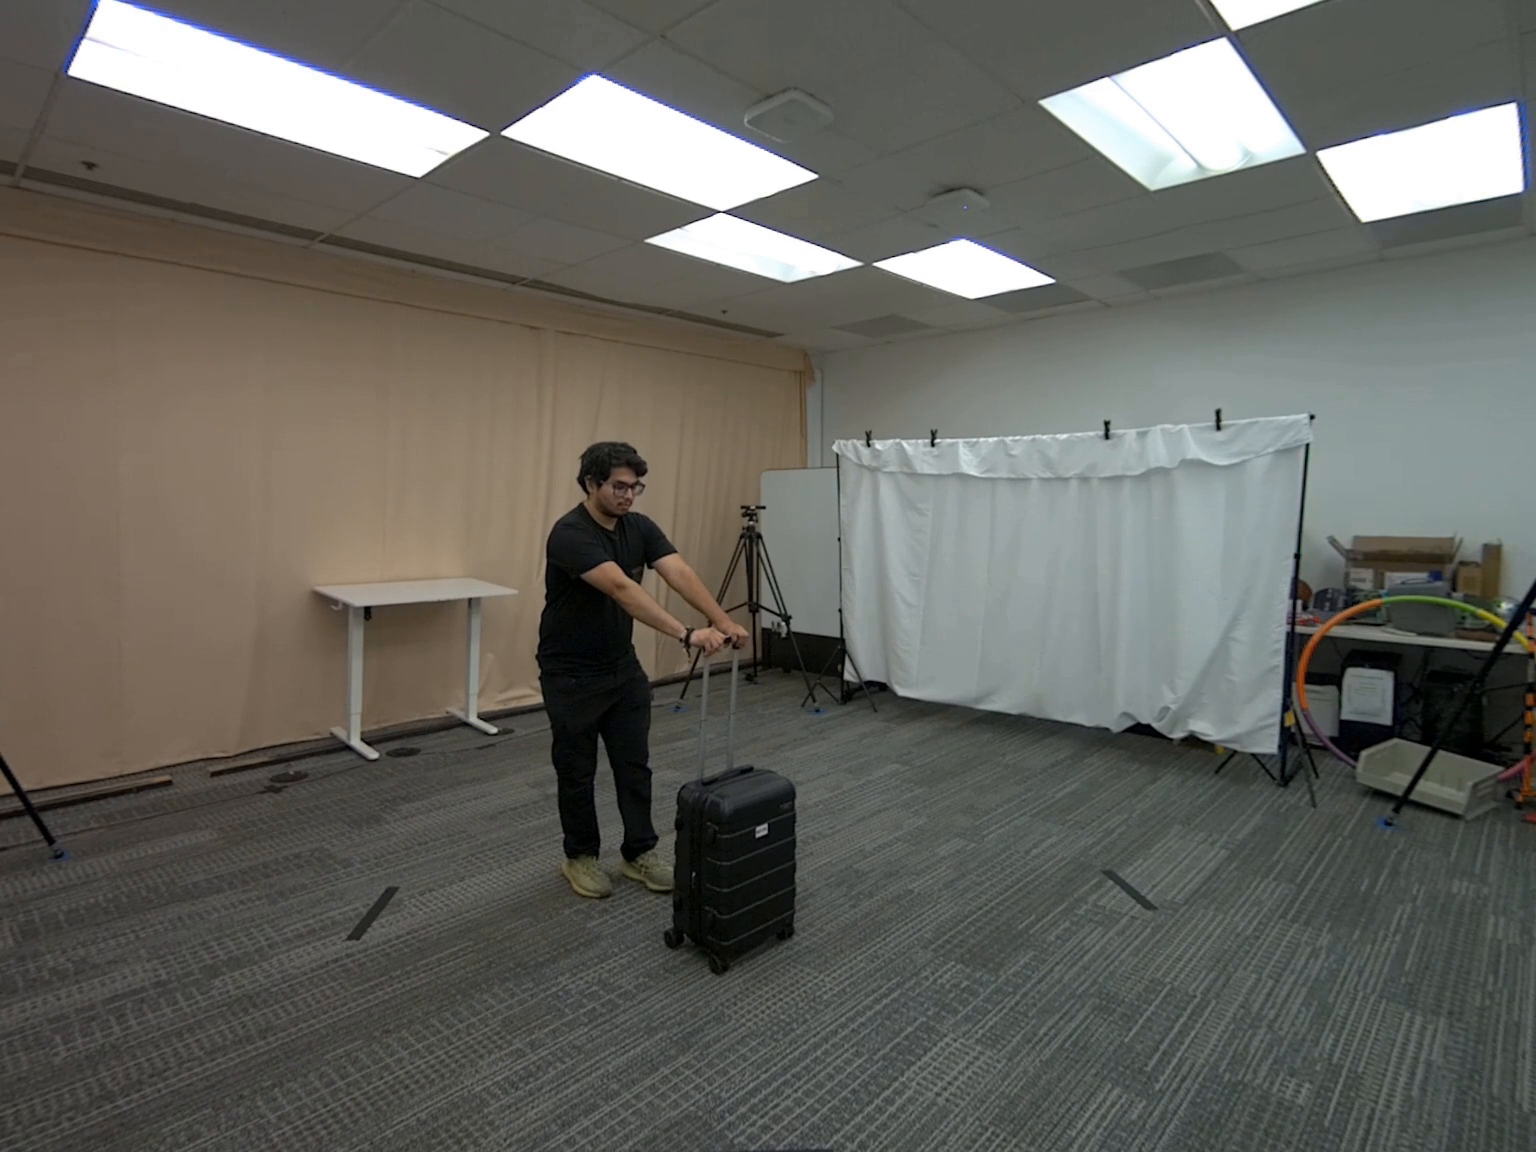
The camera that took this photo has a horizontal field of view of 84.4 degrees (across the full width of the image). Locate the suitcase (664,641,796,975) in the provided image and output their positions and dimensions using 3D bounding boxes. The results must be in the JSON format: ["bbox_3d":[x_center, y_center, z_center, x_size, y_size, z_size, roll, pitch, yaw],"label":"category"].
[{"bbox_3d":[-0.086,0.699,2.636,0.266,0.975,0.372,10,10,44],"label":"suitcase"}]
